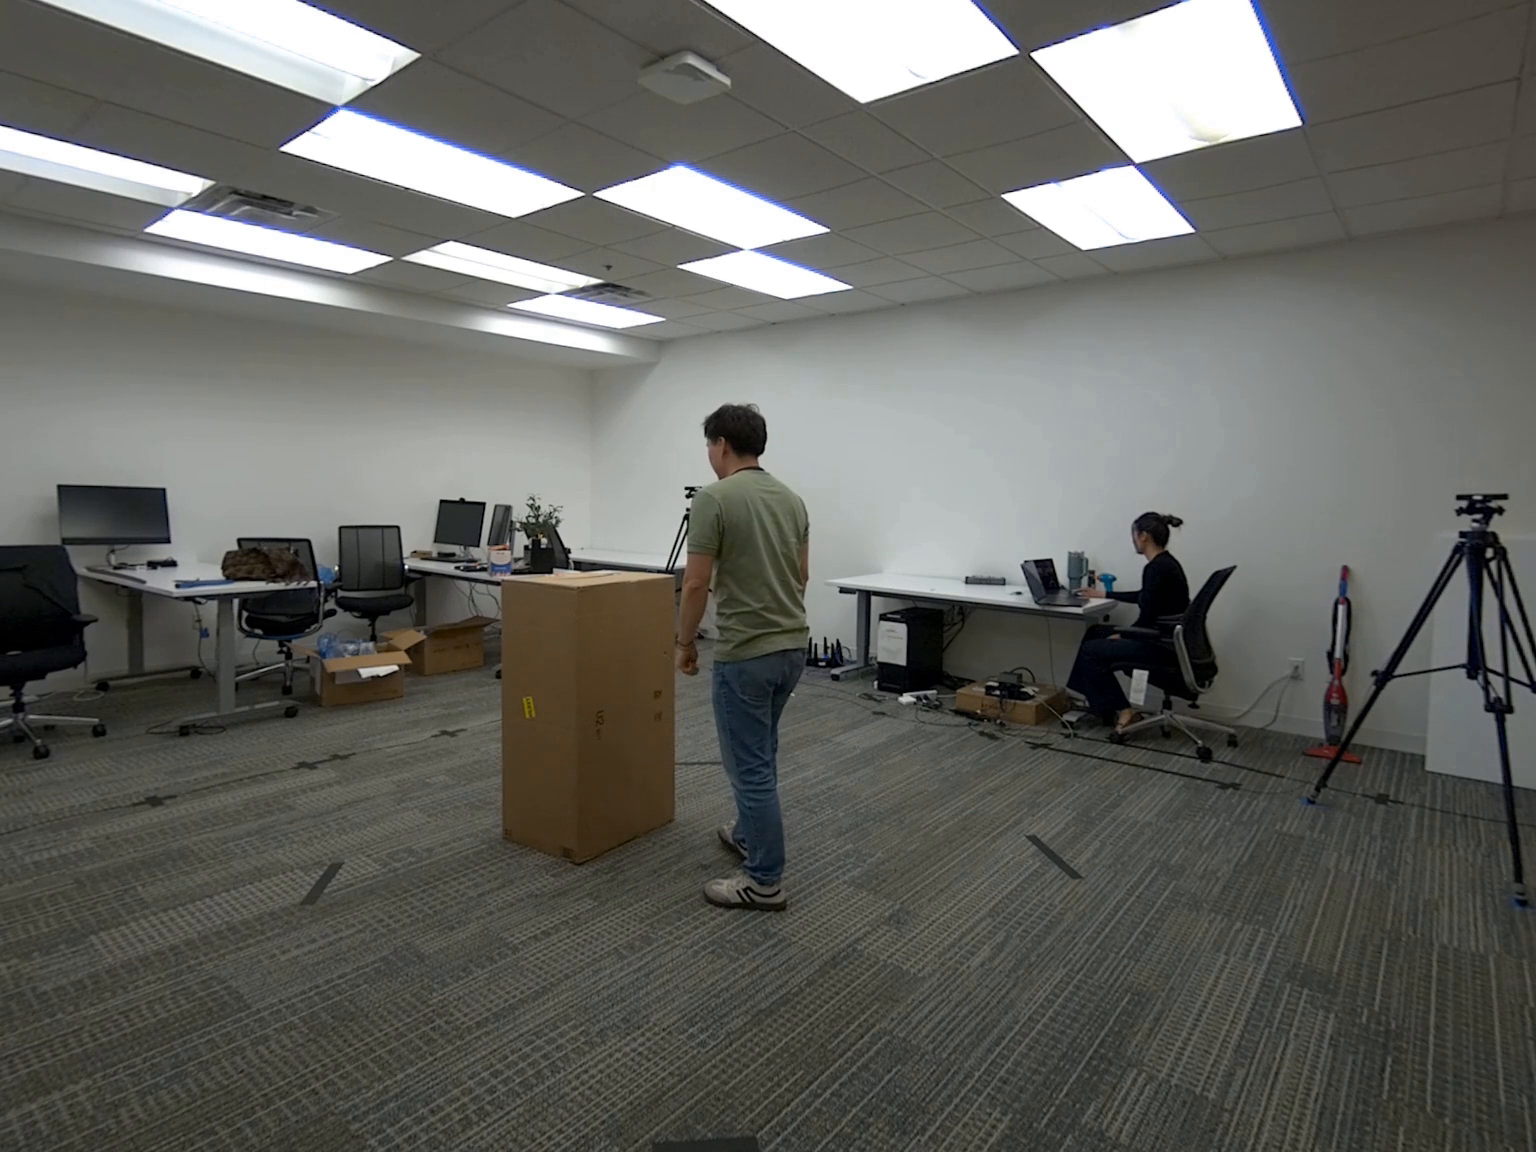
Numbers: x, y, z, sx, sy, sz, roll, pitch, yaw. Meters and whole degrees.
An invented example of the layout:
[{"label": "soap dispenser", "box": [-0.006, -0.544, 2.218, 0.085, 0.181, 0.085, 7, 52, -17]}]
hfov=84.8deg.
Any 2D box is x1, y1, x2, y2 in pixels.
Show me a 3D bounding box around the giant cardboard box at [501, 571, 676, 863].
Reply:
[{"label": "giant cardboard box", "box": [-0.727, 0.514, 3.443, 0.439, 1.023, 0.561, 3, 3, 34]}]
